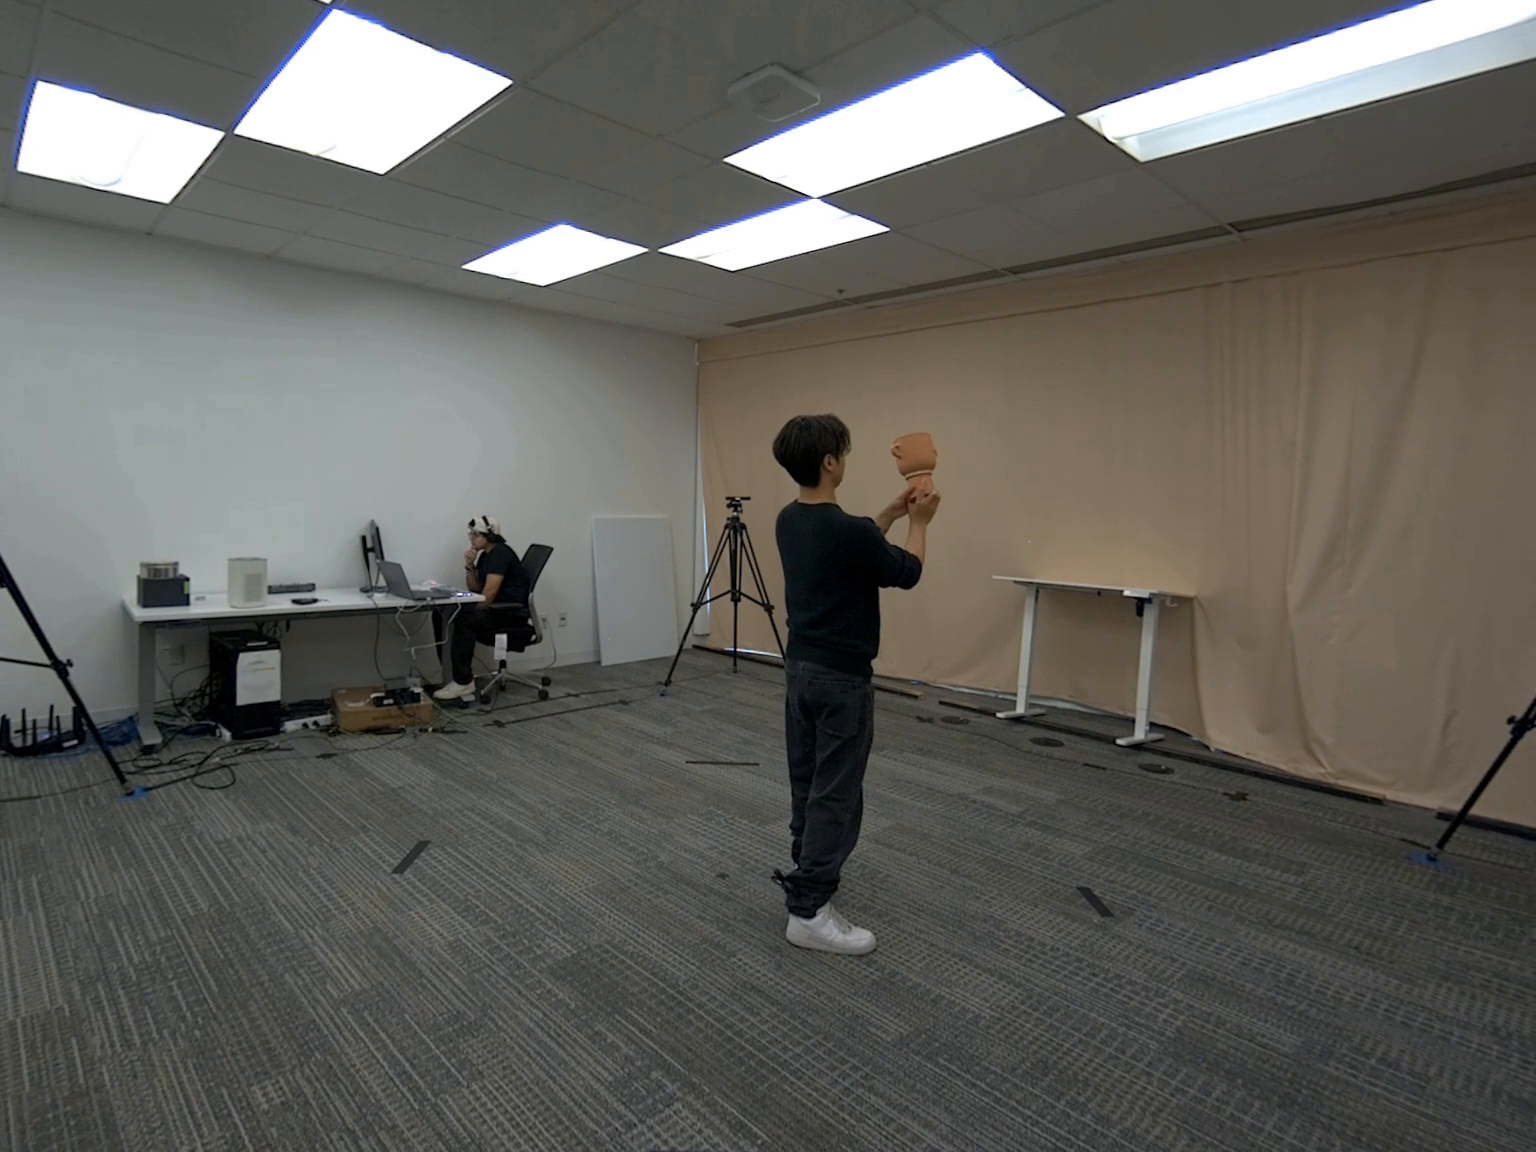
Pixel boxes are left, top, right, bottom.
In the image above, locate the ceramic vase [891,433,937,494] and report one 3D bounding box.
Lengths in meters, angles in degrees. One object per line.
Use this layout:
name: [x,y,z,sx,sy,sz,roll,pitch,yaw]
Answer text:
ceramic vase: [0.518,-0.375,2.929,0.160,0.222,0.132,-10,-14,10]
